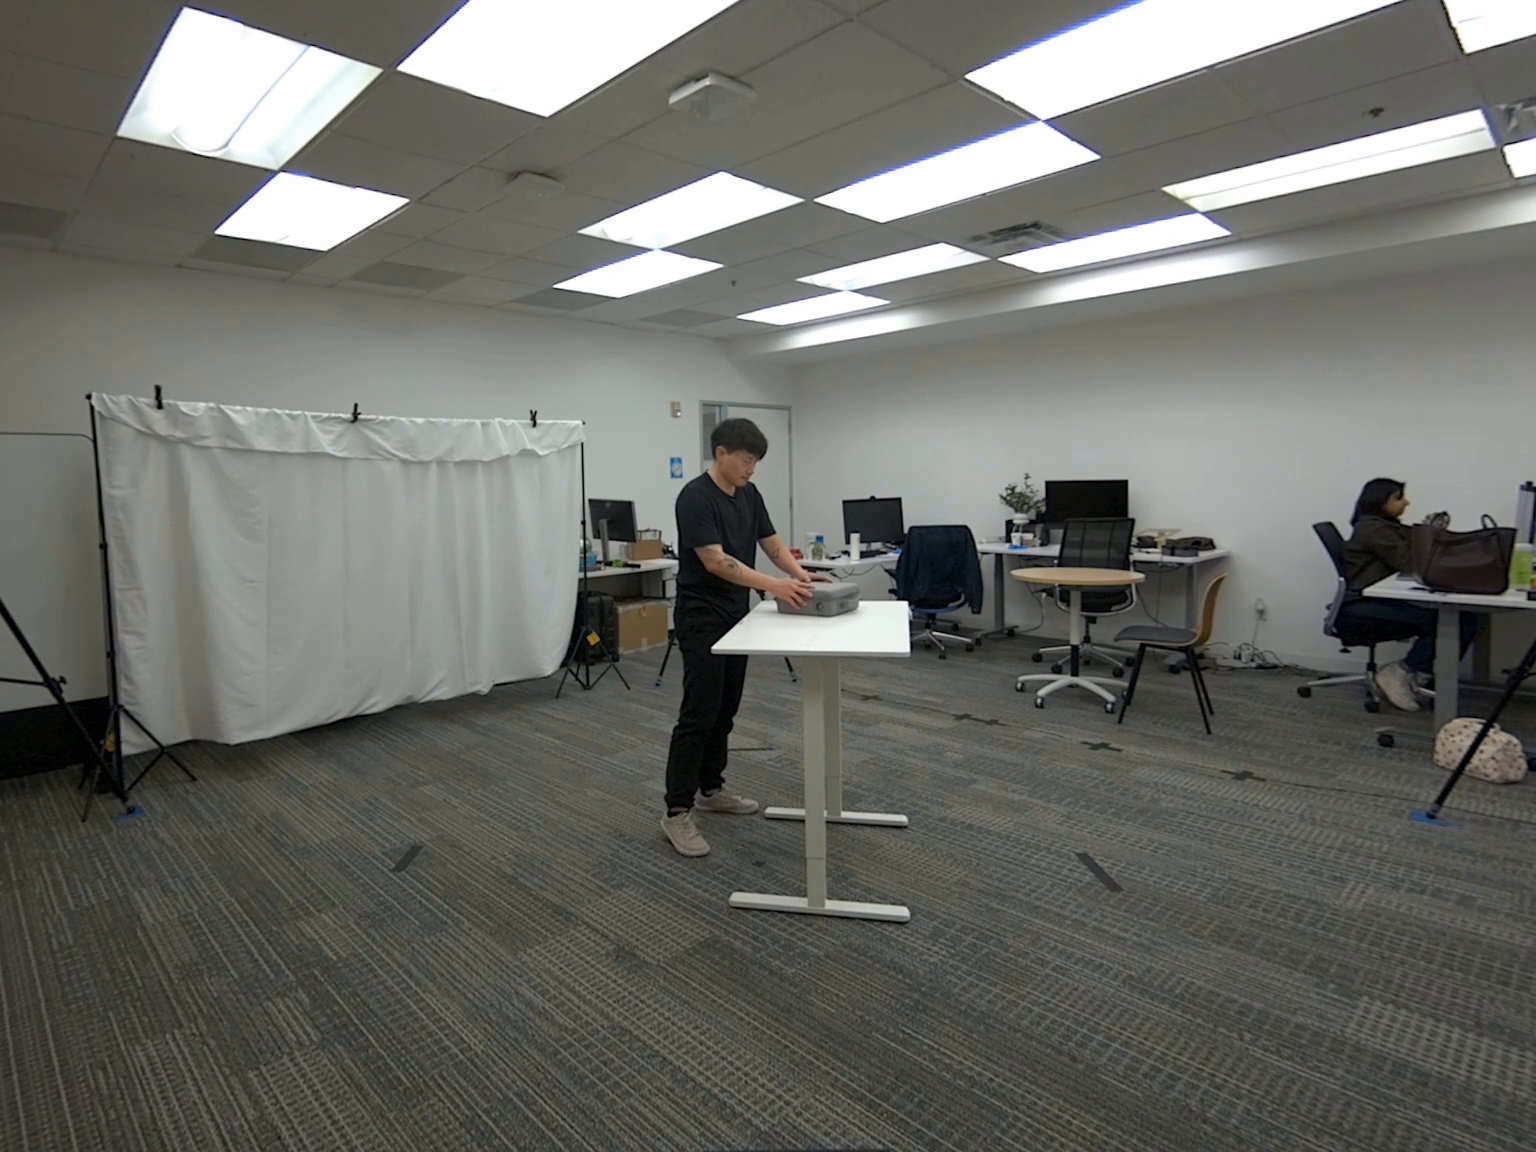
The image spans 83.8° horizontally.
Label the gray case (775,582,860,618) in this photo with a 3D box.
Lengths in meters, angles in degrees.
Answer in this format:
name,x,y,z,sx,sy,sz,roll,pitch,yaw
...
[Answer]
name,x,y,z,sx,sy,sz,roll,pitch,yaw
gray case,0.198,0.085,3.301,0.268,0.104,0.251,2,6,34
